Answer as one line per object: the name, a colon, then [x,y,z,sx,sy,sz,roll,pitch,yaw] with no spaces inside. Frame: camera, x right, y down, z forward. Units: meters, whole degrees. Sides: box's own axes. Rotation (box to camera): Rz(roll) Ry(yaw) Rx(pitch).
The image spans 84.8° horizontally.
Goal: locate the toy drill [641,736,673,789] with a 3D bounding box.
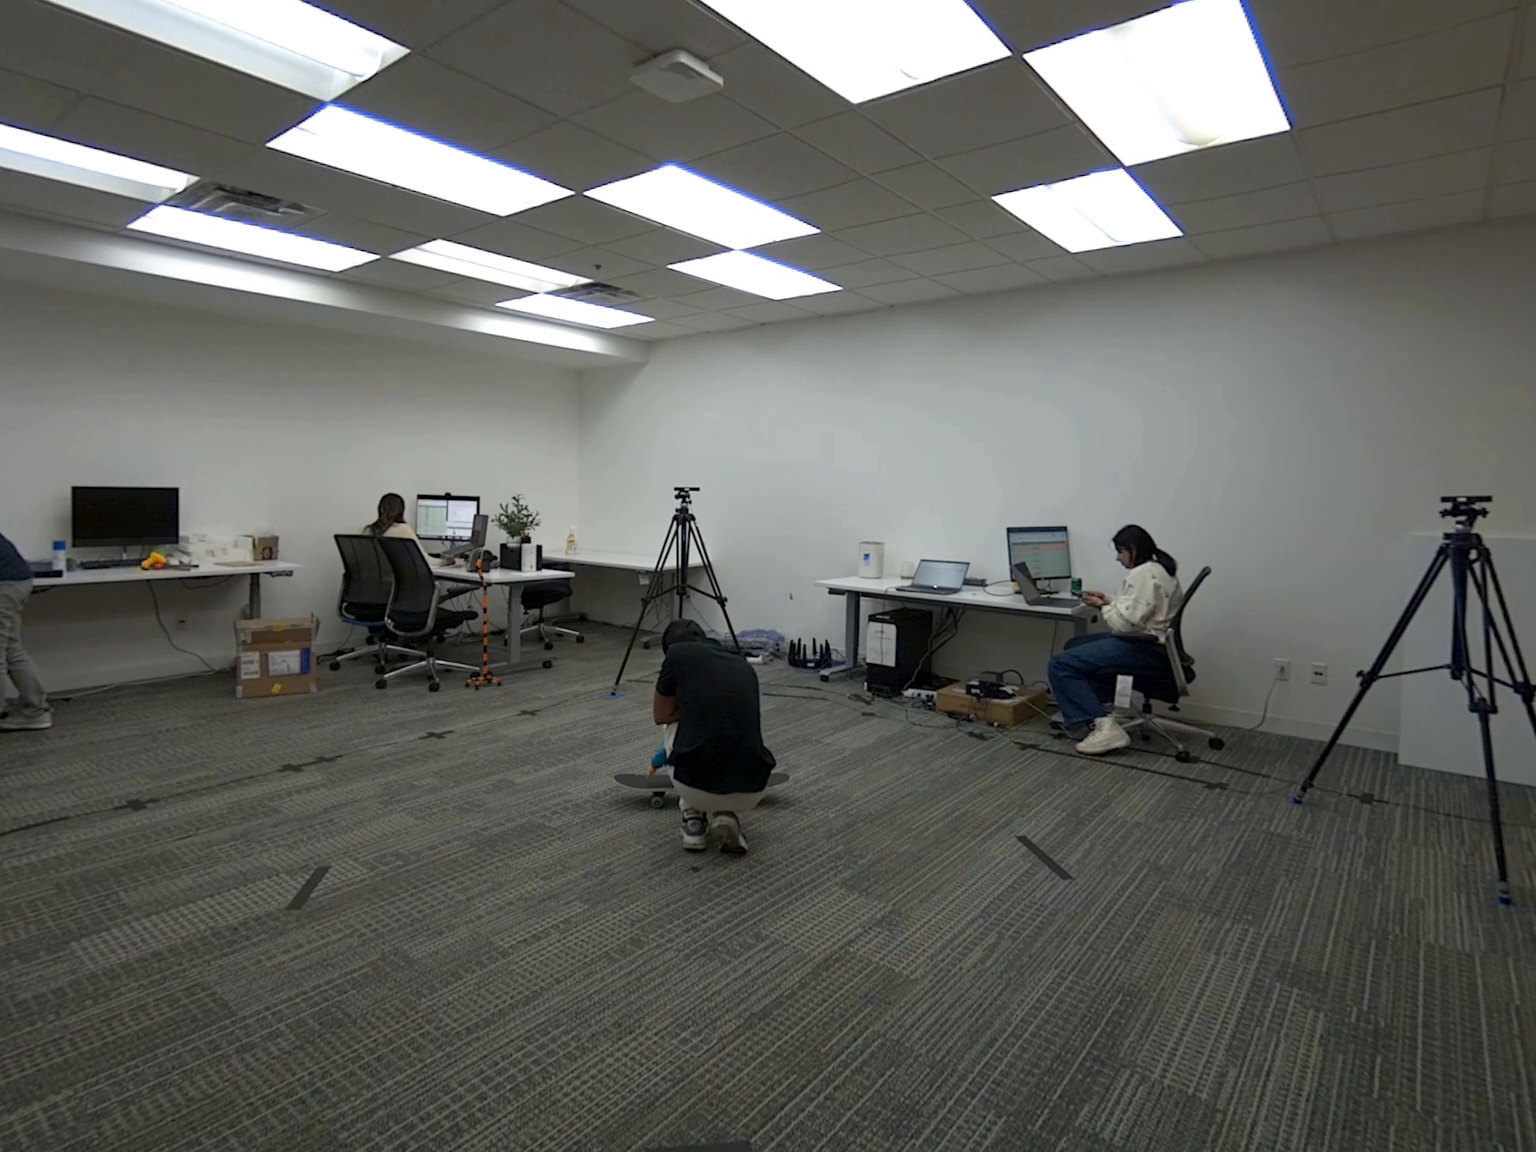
toy drill: [-0.458,0.831,3.756,0.142,0.170,0.062,34,-2,-18]
